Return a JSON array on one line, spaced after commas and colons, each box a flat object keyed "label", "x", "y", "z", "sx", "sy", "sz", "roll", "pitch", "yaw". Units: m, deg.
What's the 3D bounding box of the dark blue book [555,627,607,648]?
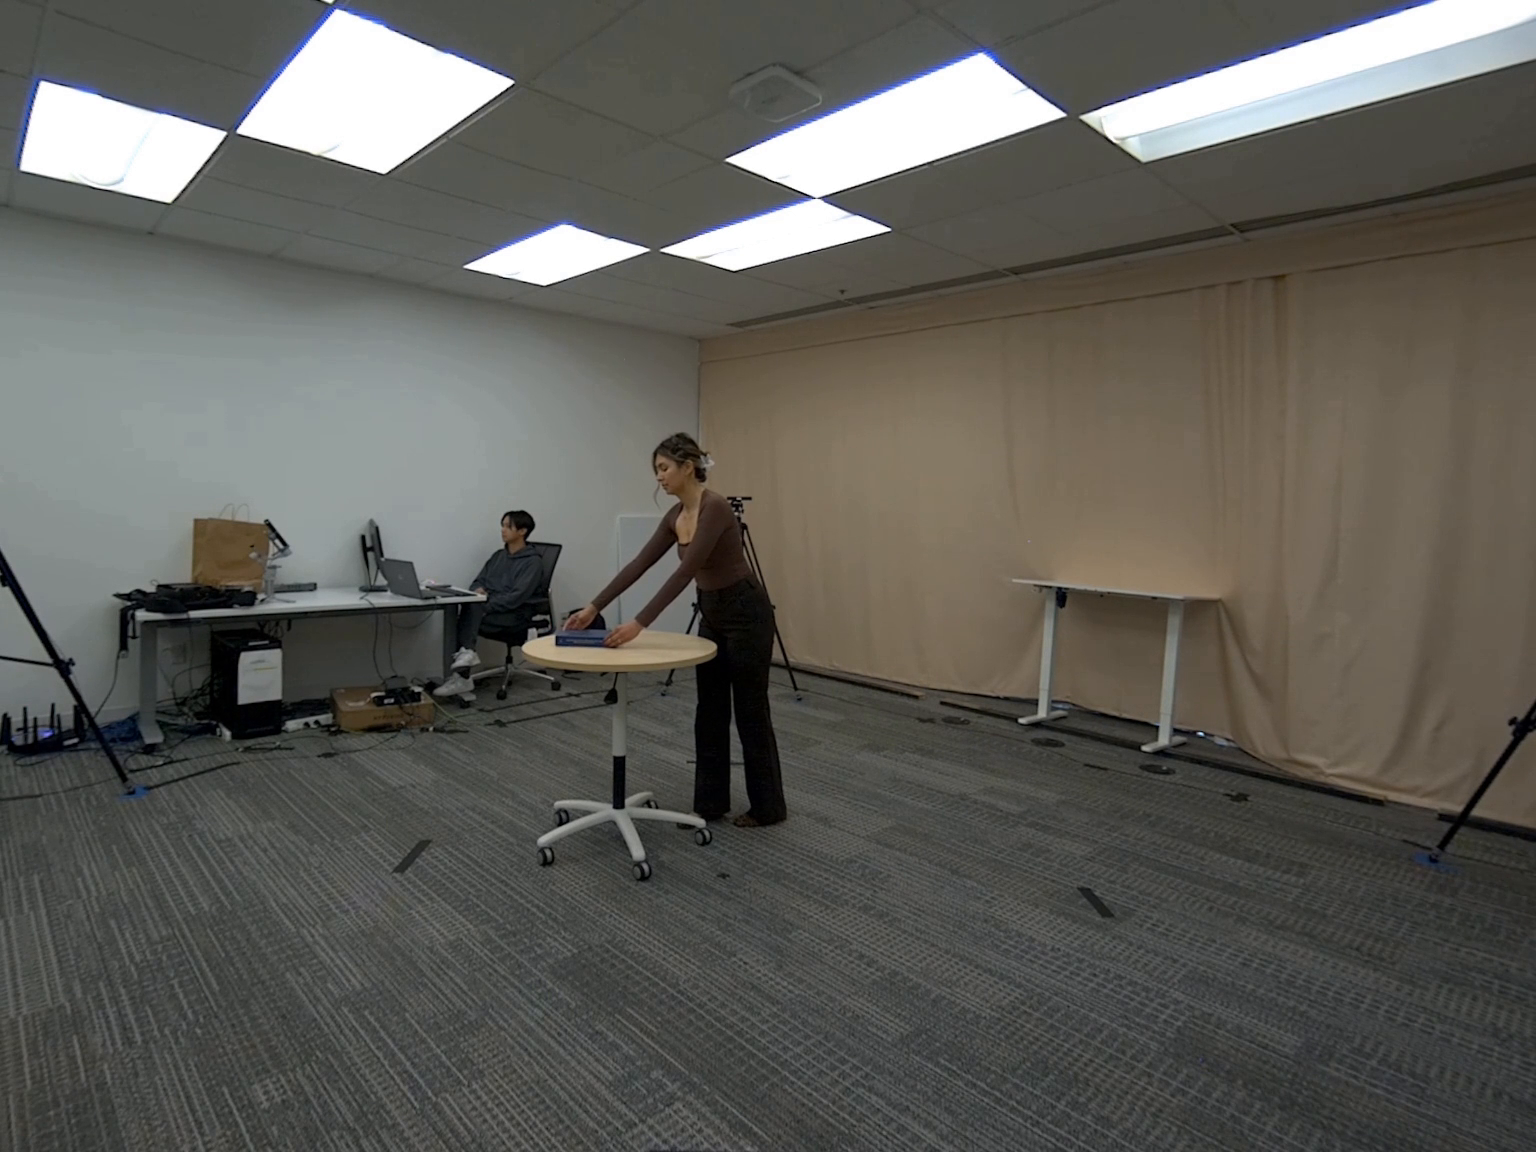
[{"label": "dark blue book", "x": -0.738, "y": 0.255, "z": 3.371, "sx": 0.245, "sy": 0.045, "sz": 0.163, "roll": 2, "pitch": 5, "yaw": 2}]
